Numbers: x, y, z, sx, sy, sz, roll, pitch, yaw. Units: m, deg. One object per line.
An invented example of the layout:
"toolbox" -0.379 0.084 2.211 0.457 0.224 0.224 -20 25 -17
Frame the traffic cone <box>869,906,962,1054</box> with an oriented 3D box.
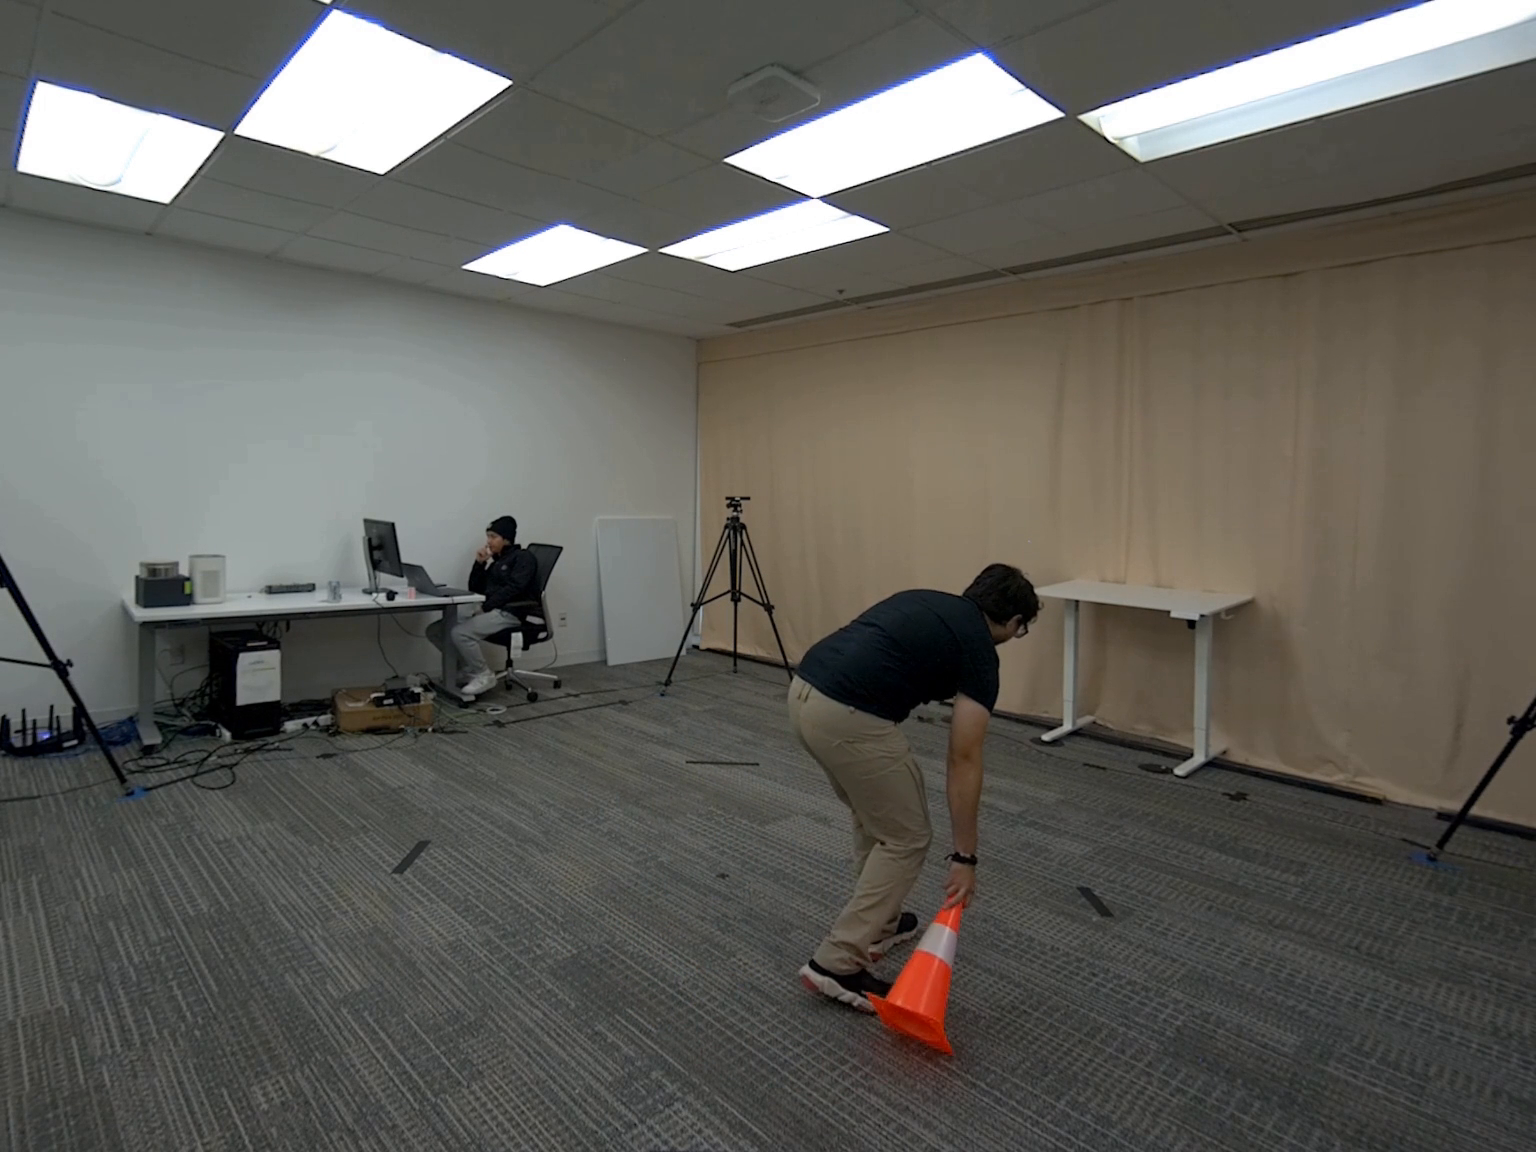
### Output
"traffic cone" 0.441 1.013 2.235 0.207 0.200 0.386 -8 39 42
